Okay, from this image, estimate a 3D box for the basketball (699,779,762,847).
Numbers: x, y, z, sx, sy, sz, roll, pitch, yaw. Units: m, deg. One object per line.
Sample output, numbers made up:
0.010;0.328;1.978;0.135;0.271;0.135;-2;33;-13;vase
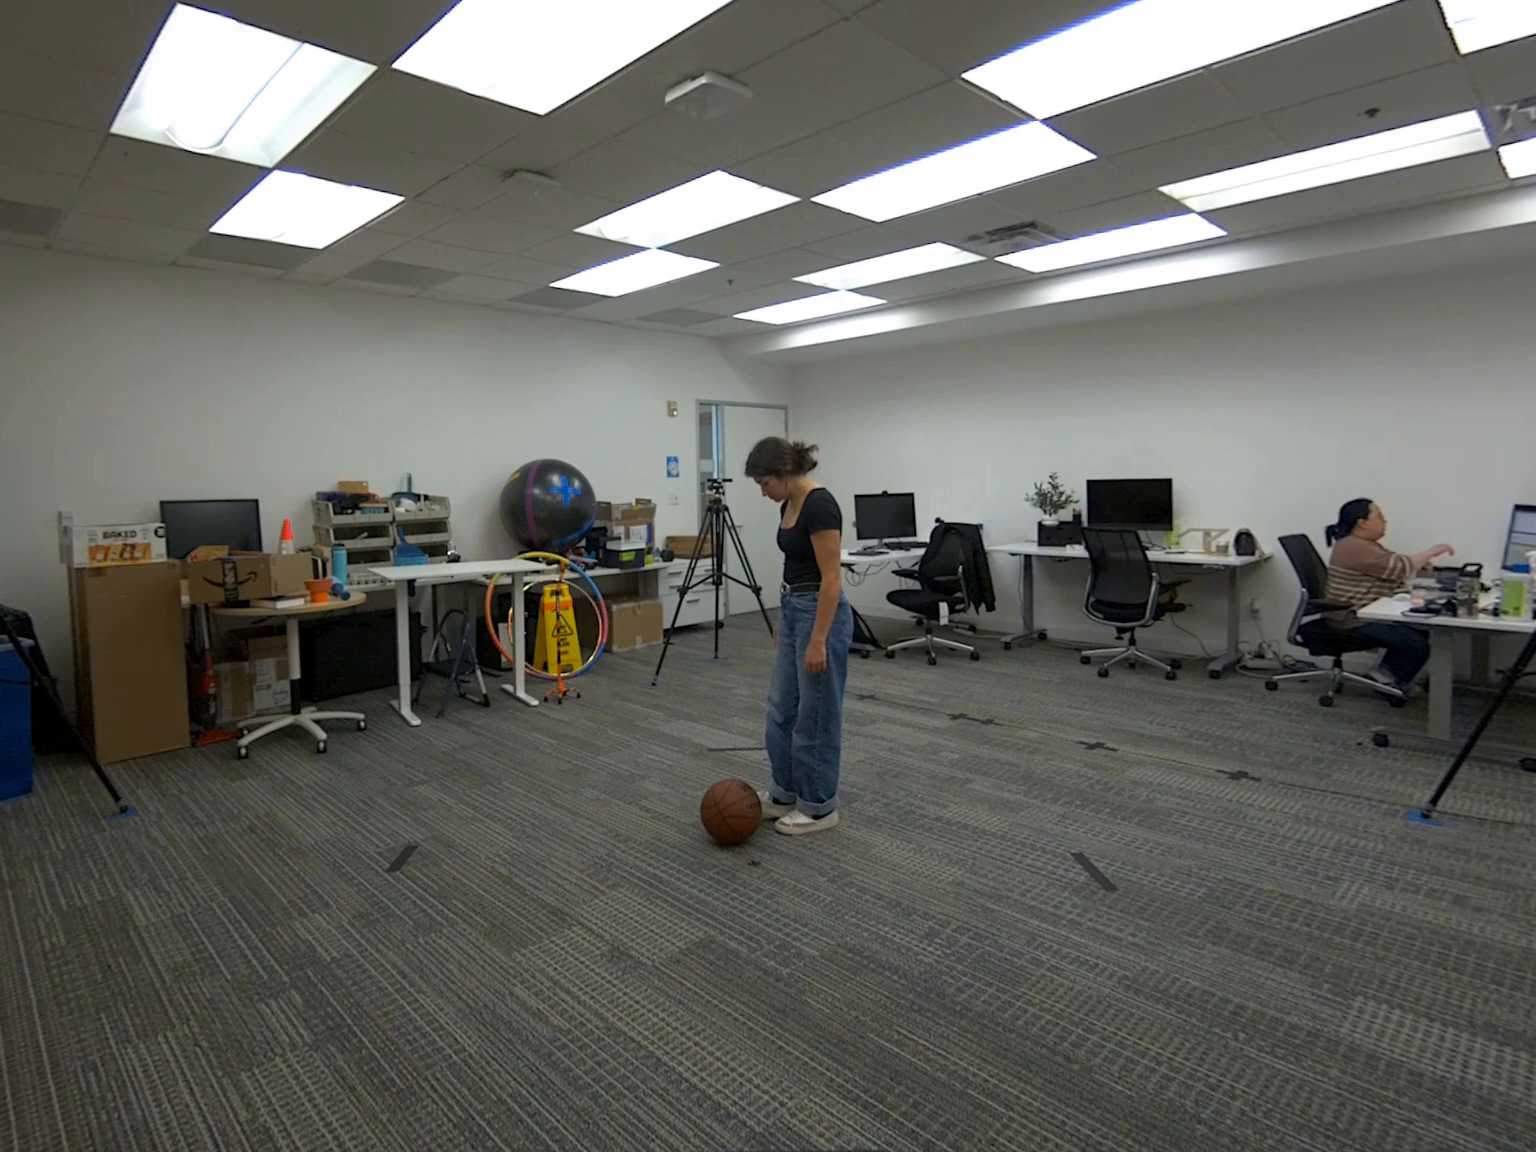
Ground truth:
-0.139;0.903;3.297;0.236;0.235;0.237;-1;5;-2;basketball
